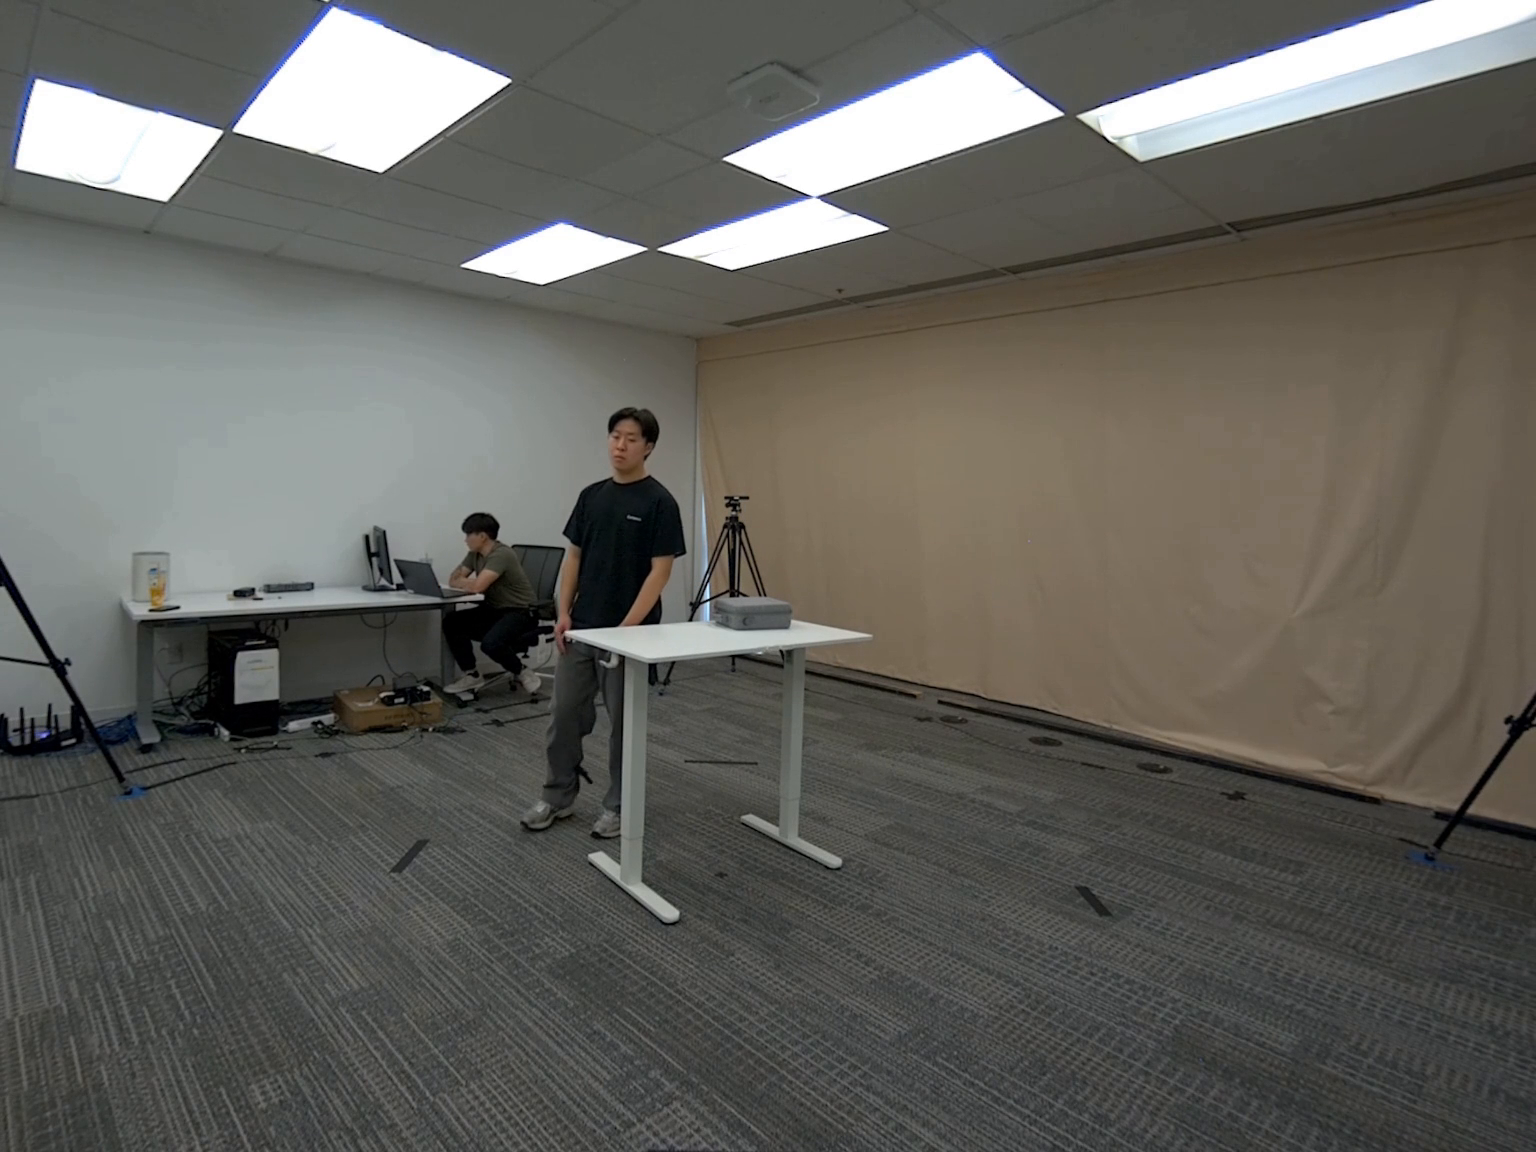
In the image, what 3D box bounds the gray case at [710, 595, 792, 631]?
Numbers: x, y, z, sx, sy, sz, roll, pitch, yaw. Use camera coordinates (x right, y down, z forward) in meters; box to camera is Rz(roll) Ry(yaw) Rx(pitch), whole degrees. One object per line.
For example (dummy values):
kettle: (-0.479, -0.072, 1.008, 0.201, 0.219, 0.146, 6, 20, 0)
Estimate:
gray case: (-0.078, 0.147, 3.370, 0.282, 0.103, 0.268, -1, 6, -23)
